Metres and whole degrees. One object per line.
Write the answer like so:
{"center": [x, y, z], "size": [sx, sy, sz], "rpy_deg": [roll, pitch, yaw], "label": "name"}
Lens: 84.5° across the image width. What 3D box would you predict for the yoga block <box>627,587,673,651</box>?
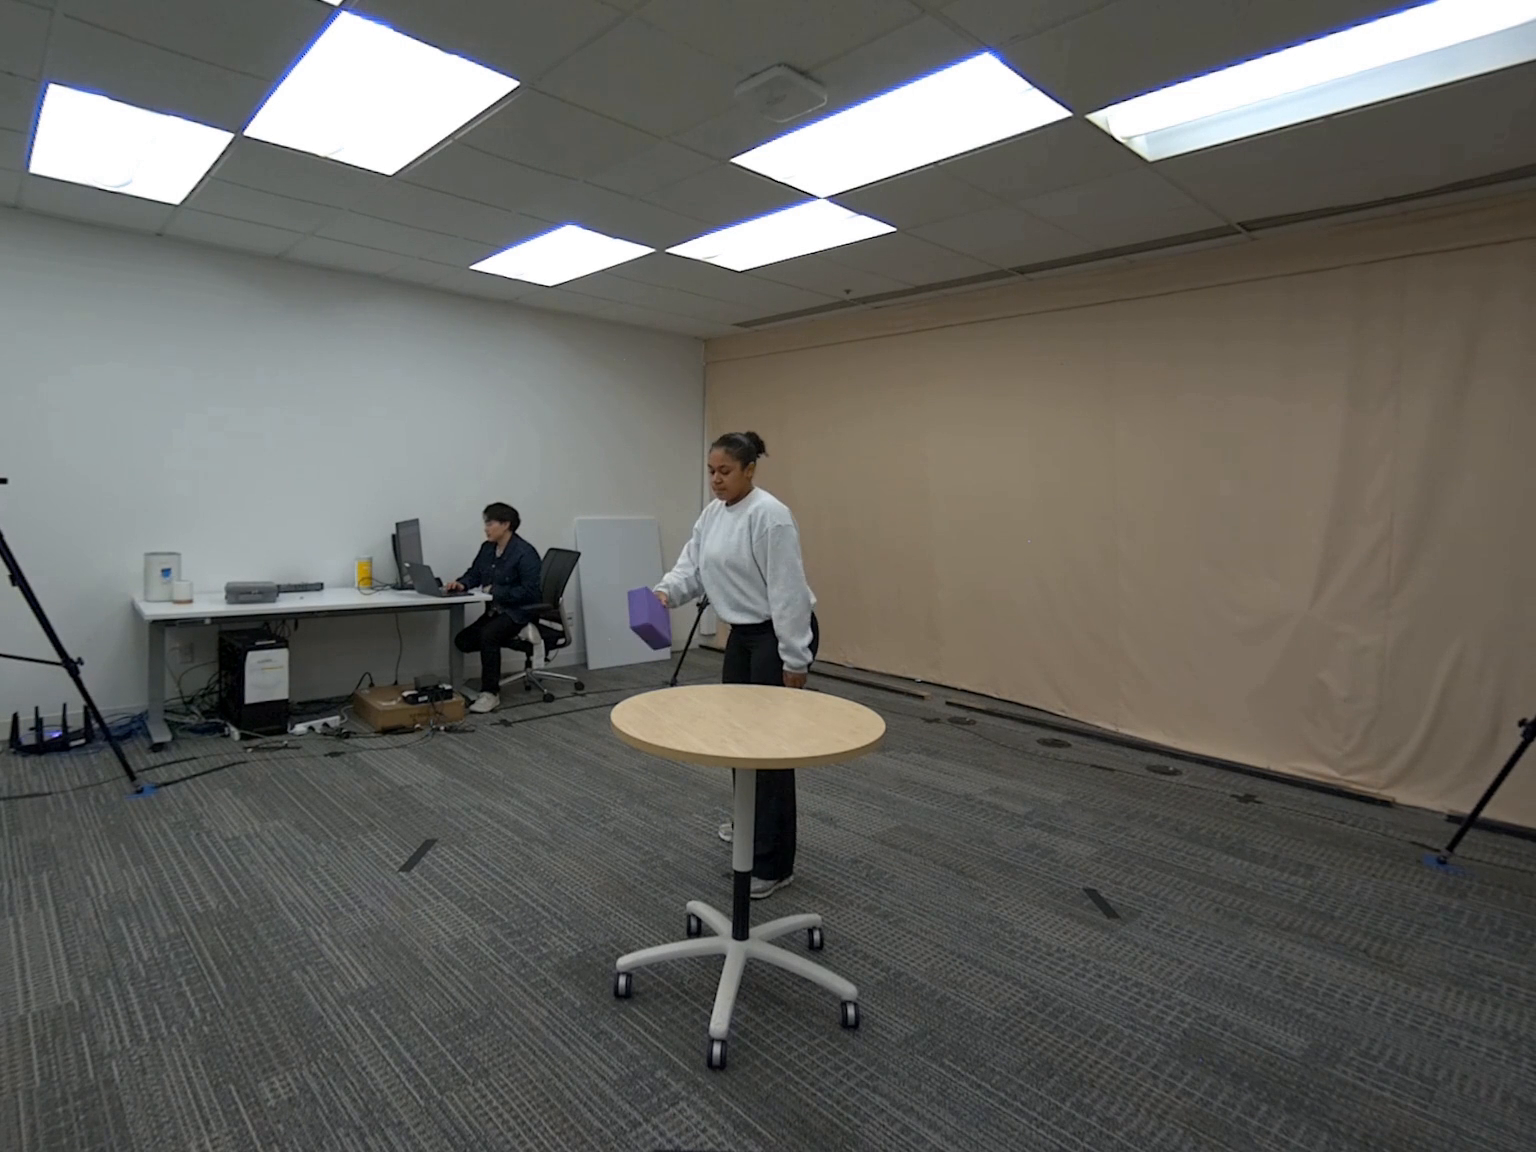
{"center": [-0.408, 0.162, 2.909], "size": [0.077, 0.152, 0.223], "rpy_deg": [-11, -27, 14], "label": "yoga block"}
